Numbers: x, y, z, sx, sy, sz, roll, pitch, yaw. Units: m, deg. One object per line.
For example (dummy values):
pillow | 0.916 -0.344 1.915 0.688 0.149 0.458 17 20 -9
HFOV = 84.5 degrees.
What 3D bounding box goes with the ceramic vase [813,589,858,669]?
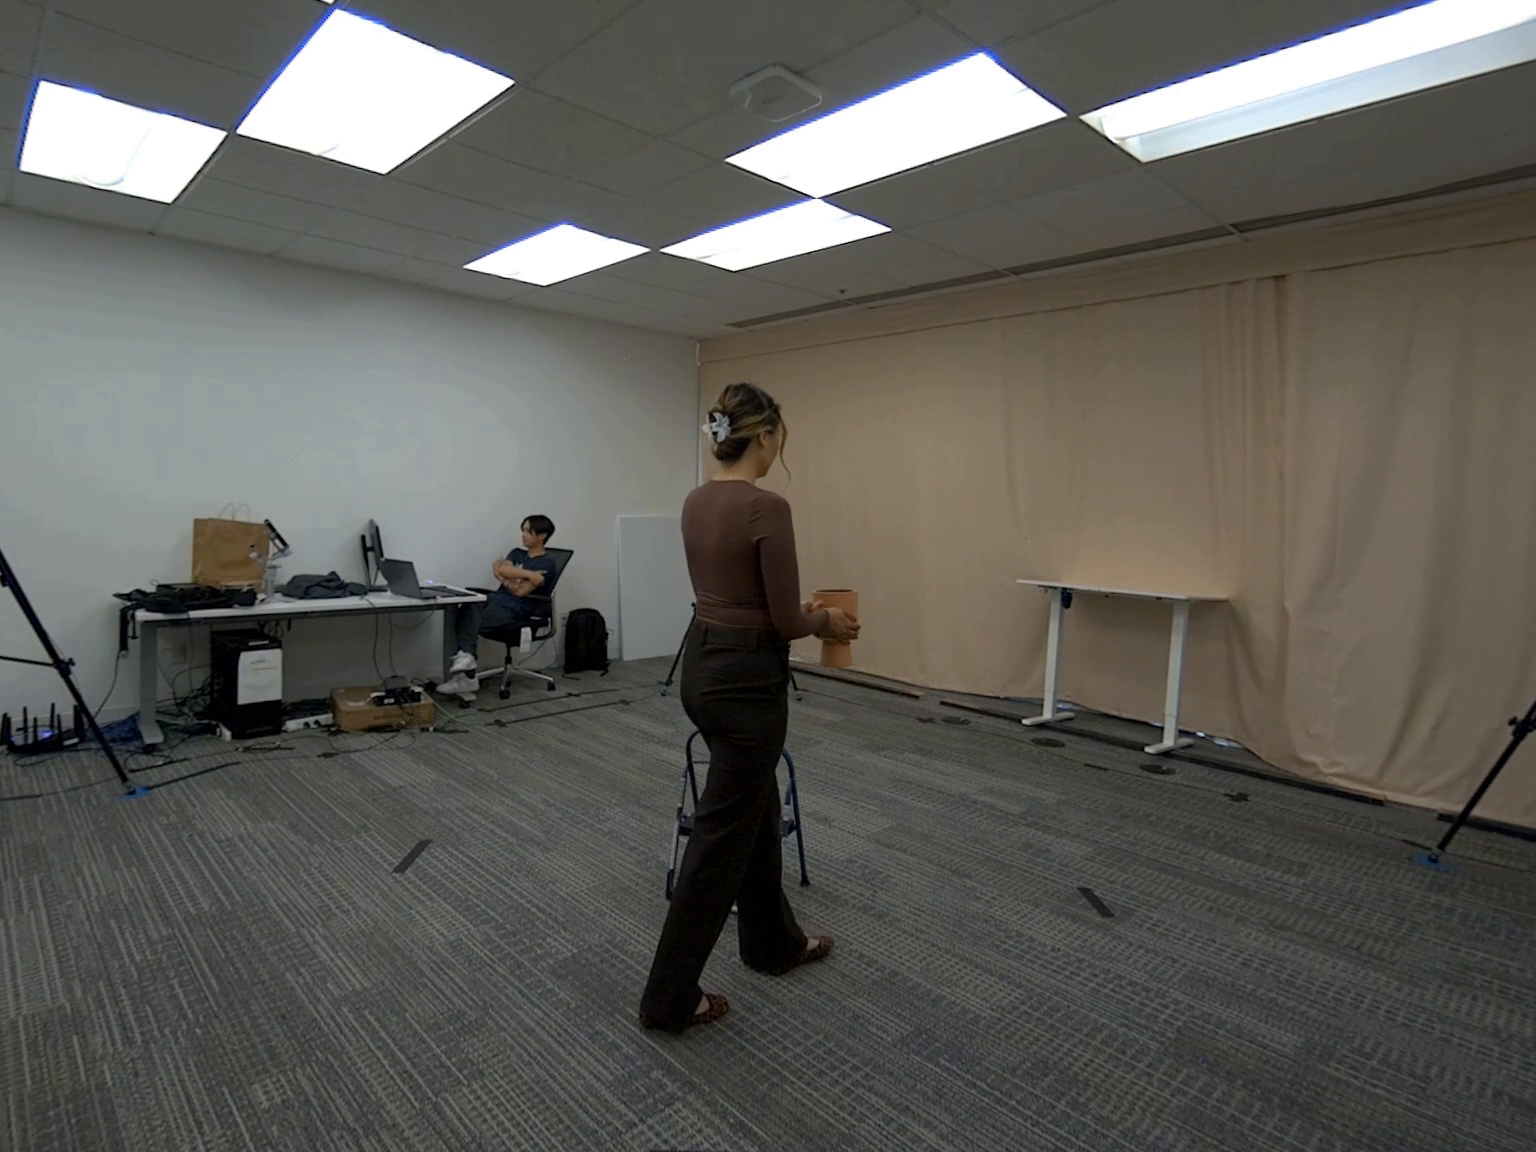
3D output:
ceramic vase | 0.199 0.153 2.487 0.158 0.219 0.135 -2 3 -6
